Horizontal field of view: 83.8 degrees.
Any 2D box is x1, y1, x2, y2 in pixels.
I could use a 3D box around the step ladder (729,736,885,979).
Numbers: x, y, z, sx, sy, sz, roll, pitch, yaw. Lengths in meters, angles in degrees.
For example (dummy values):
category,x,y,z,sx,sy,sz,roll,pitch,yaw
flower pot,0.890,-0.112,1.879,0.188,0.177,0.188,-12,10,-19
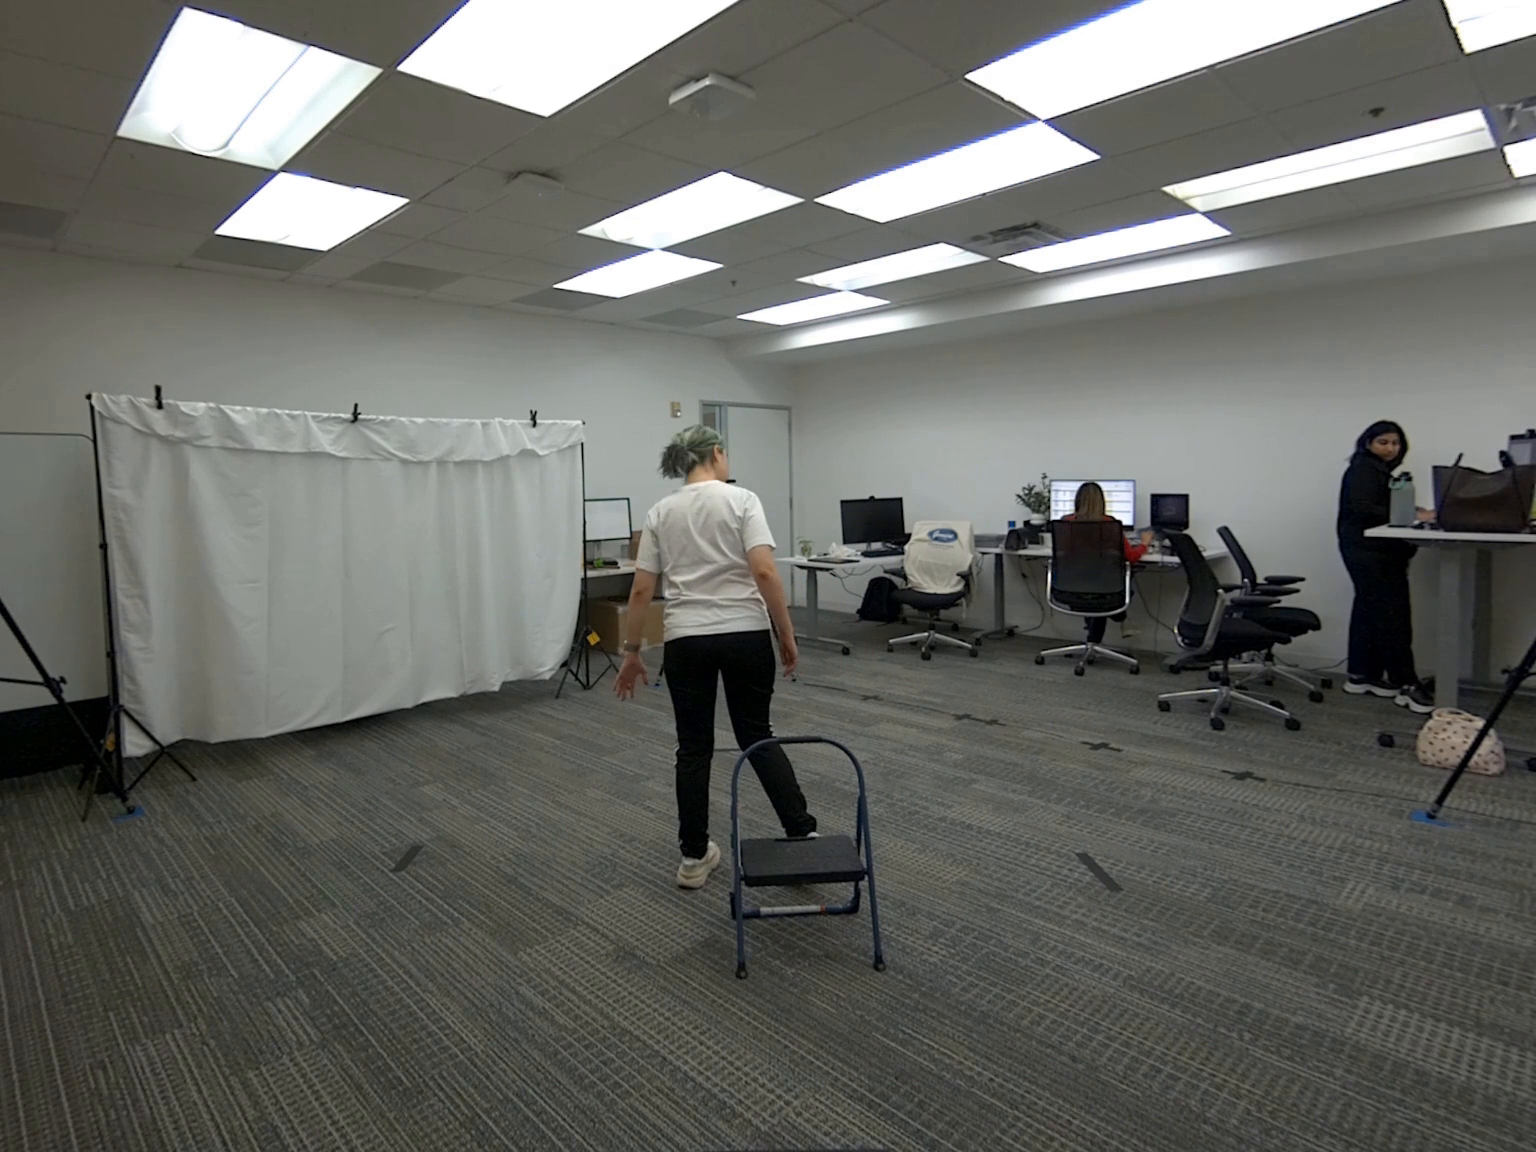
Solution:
category,x,y,z,sx,sy,sz,roll,pitch,yaw
step ladder,0.104,0.807,2.564,0.428,0.604,0.352,-1,5,-6
